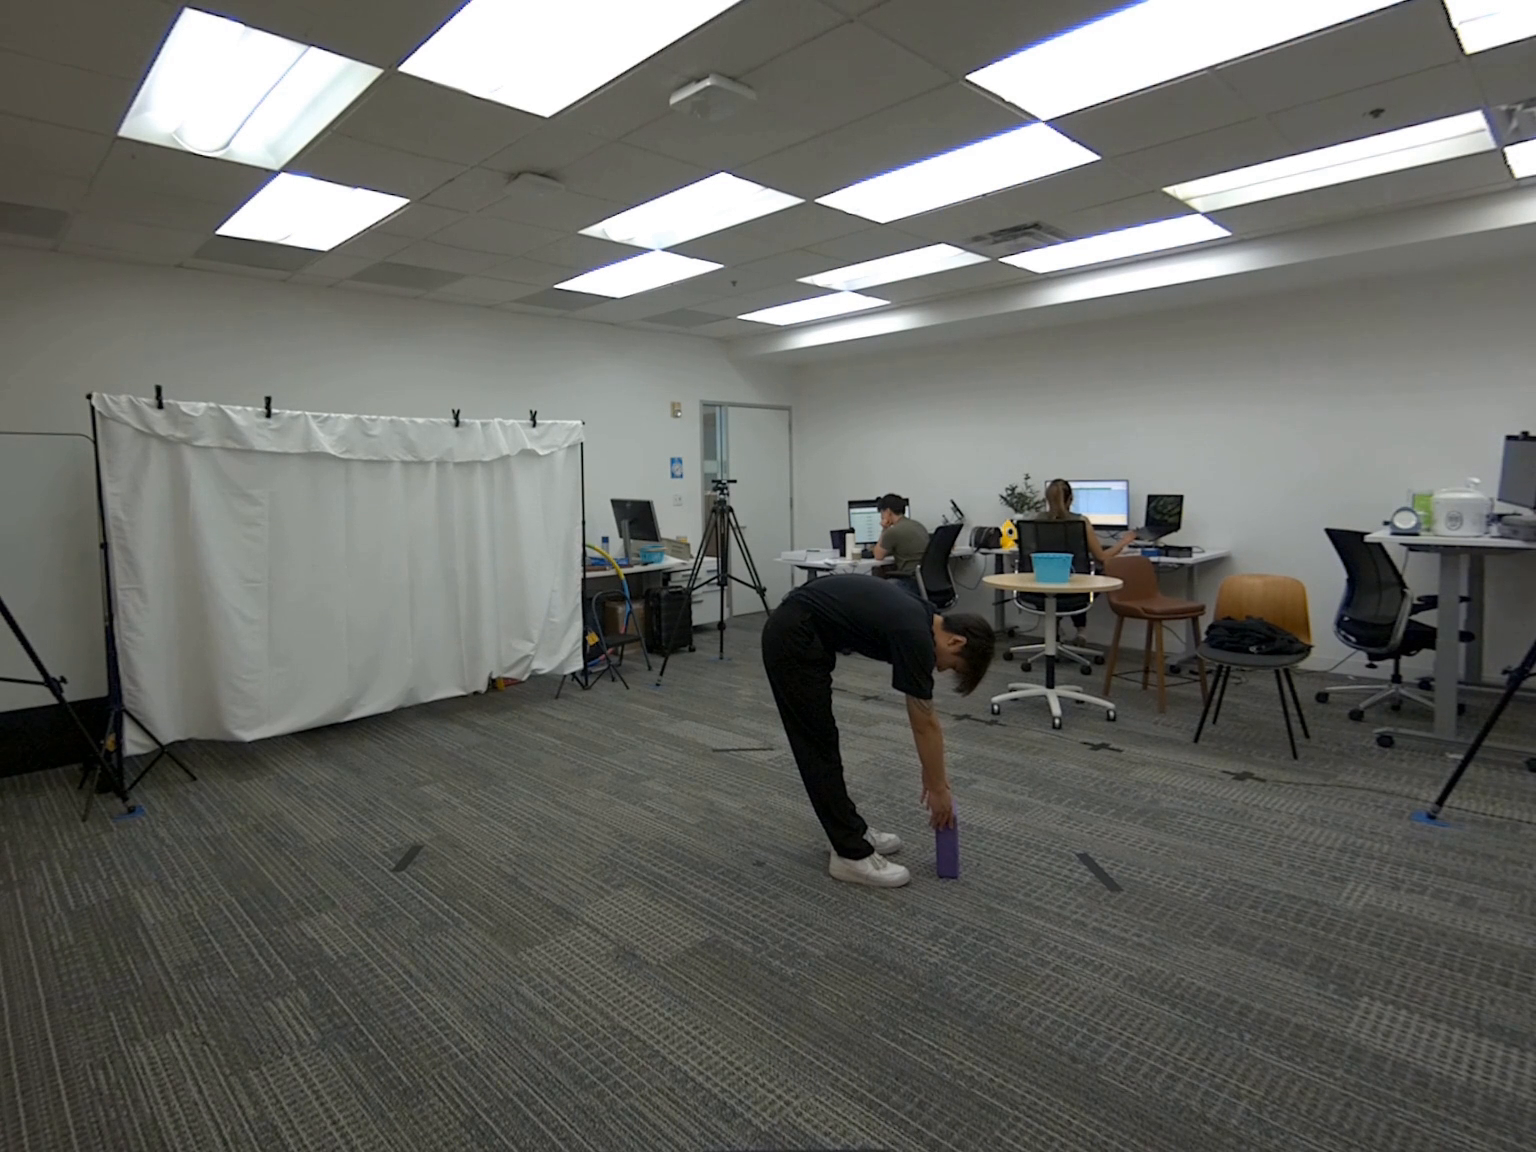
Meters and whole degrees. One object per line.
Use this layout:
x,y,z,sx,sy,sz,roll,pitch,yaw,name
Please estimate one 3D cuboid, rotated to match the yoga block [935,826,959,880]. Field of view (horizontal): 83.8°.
0.631,0.926,3.026,0.077,0.228,0.148,0,4,9,yoga block
